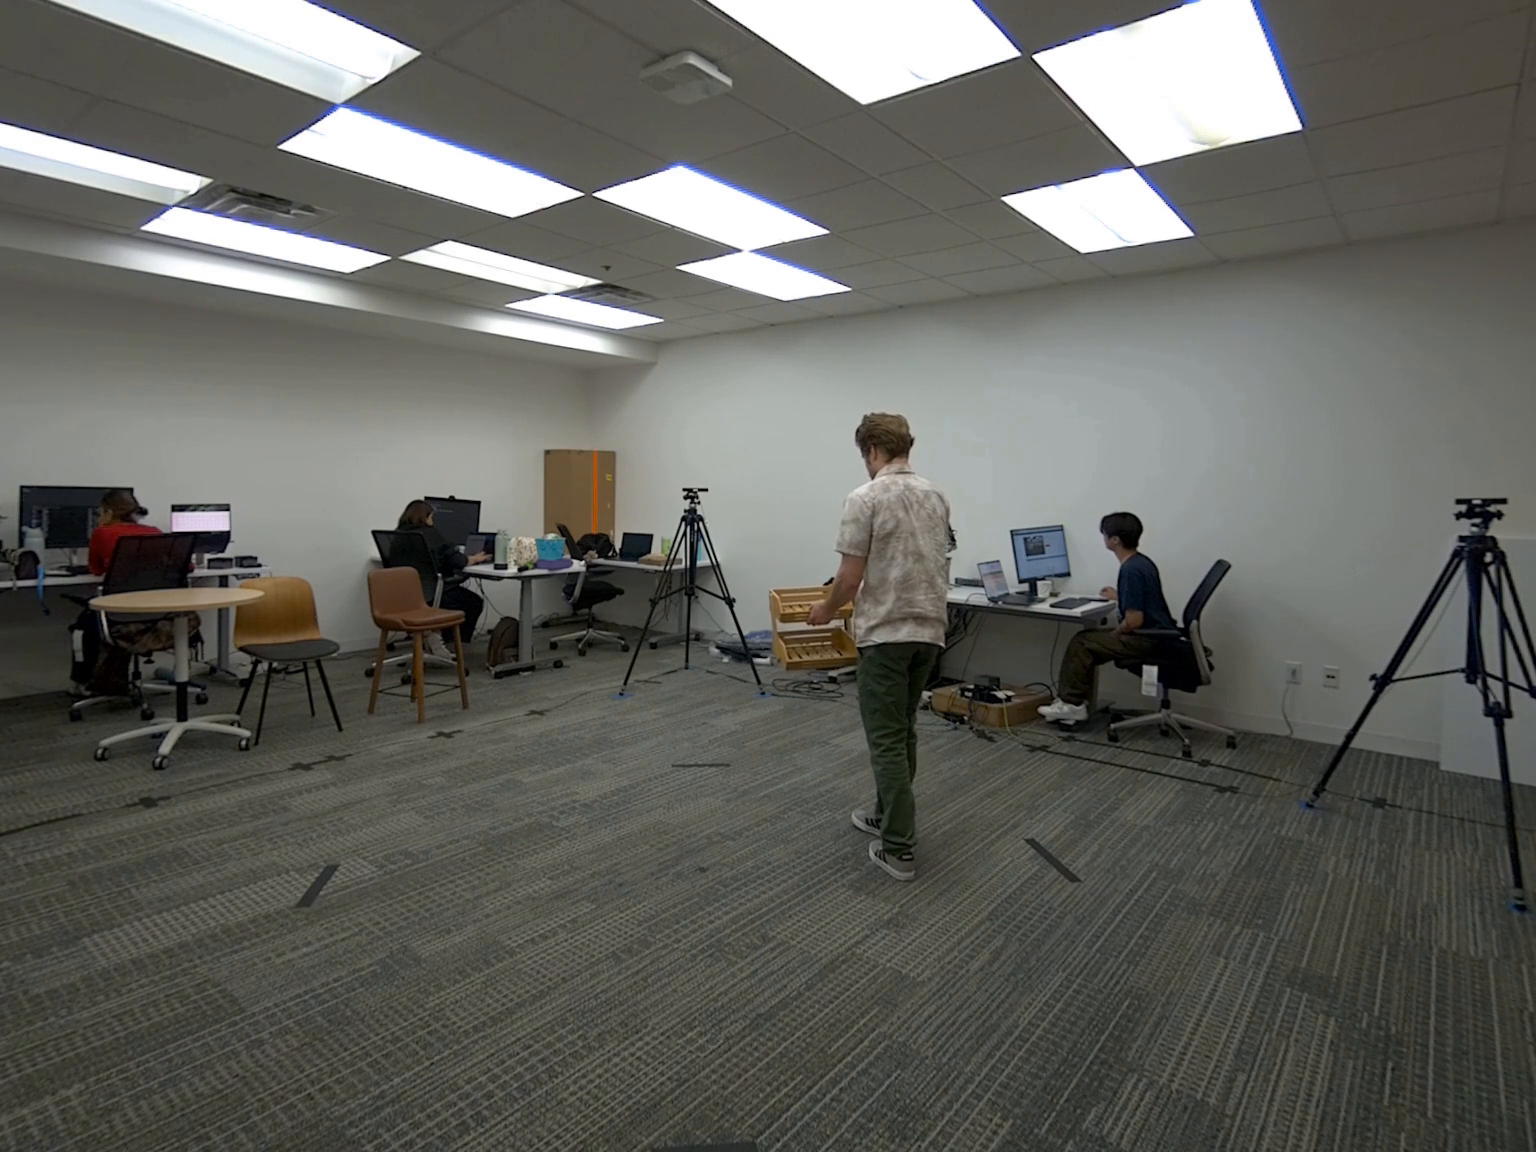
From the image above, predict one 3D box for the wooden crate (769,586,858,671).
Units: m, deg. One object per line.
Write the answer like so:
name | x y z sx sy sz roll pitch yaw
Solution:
wooden crate | 0.182 0.207 3.464 0.320 0.270 0.310 -3 15 -13
